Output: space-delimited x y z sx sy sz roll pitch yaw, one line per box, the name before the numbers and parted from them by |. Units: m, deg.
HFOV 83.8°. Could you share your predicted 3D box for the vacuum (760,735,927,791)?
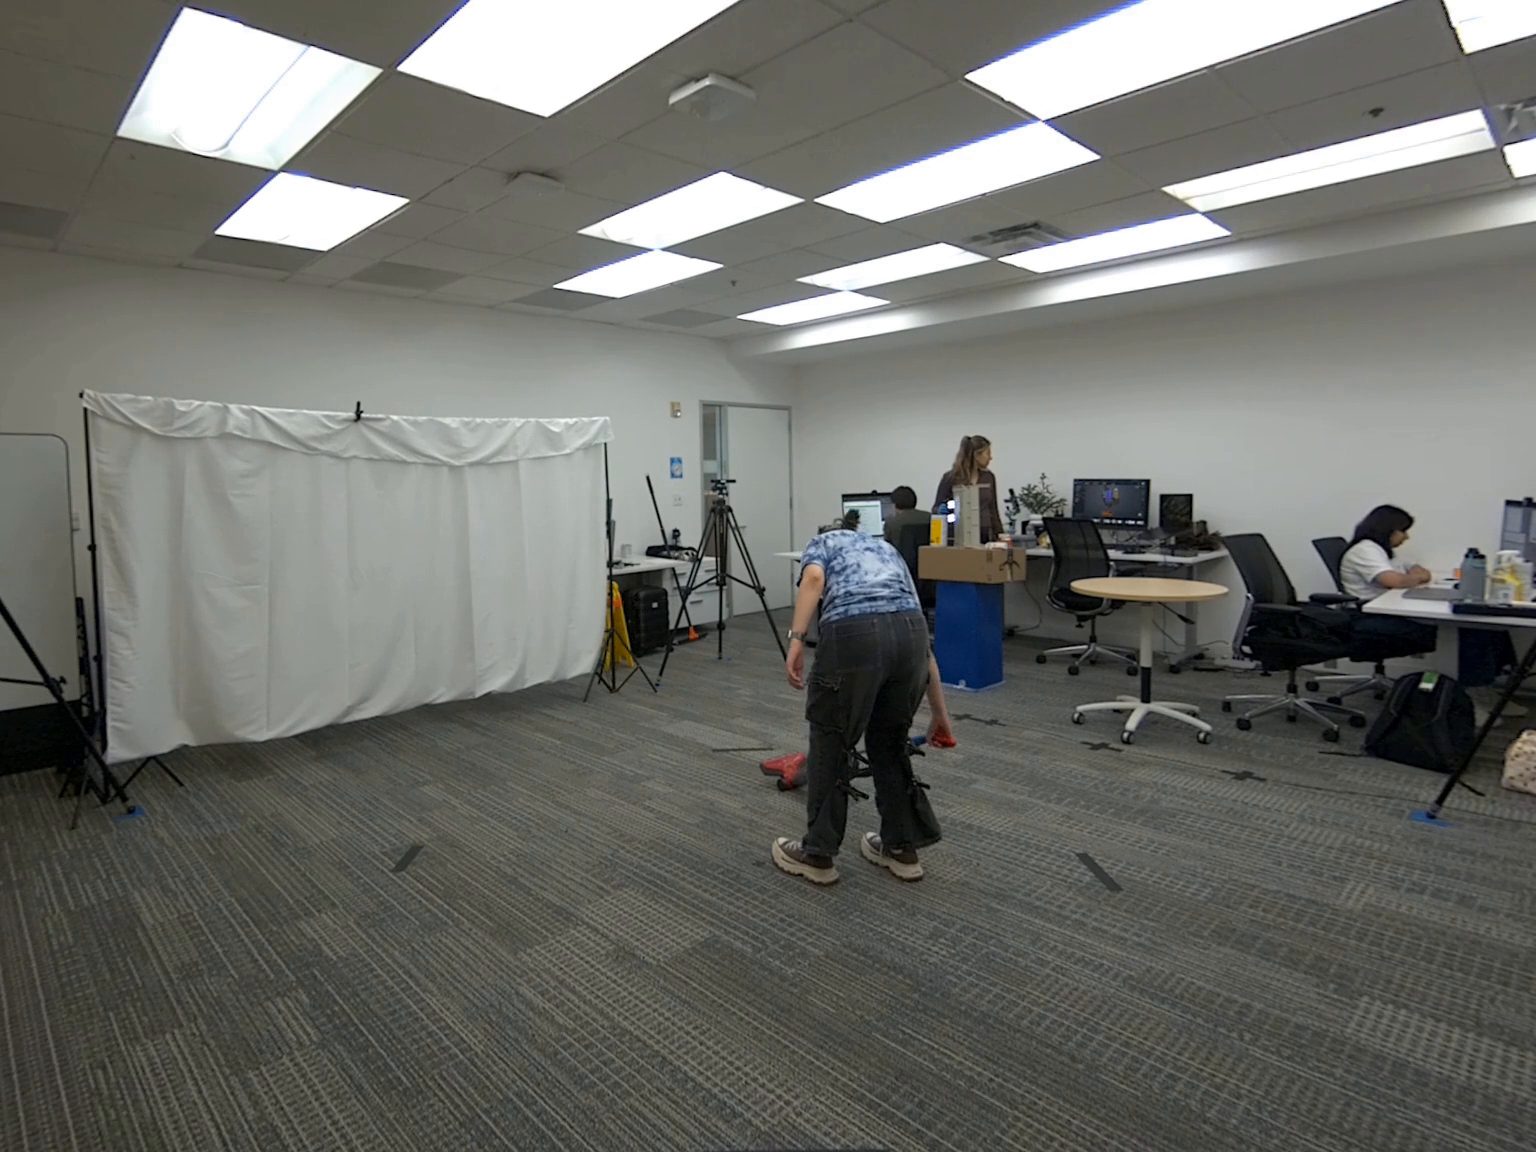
vacuum | 0.375 0.769 3.490 0.246 0.146 1.063 -6 -11 -36
